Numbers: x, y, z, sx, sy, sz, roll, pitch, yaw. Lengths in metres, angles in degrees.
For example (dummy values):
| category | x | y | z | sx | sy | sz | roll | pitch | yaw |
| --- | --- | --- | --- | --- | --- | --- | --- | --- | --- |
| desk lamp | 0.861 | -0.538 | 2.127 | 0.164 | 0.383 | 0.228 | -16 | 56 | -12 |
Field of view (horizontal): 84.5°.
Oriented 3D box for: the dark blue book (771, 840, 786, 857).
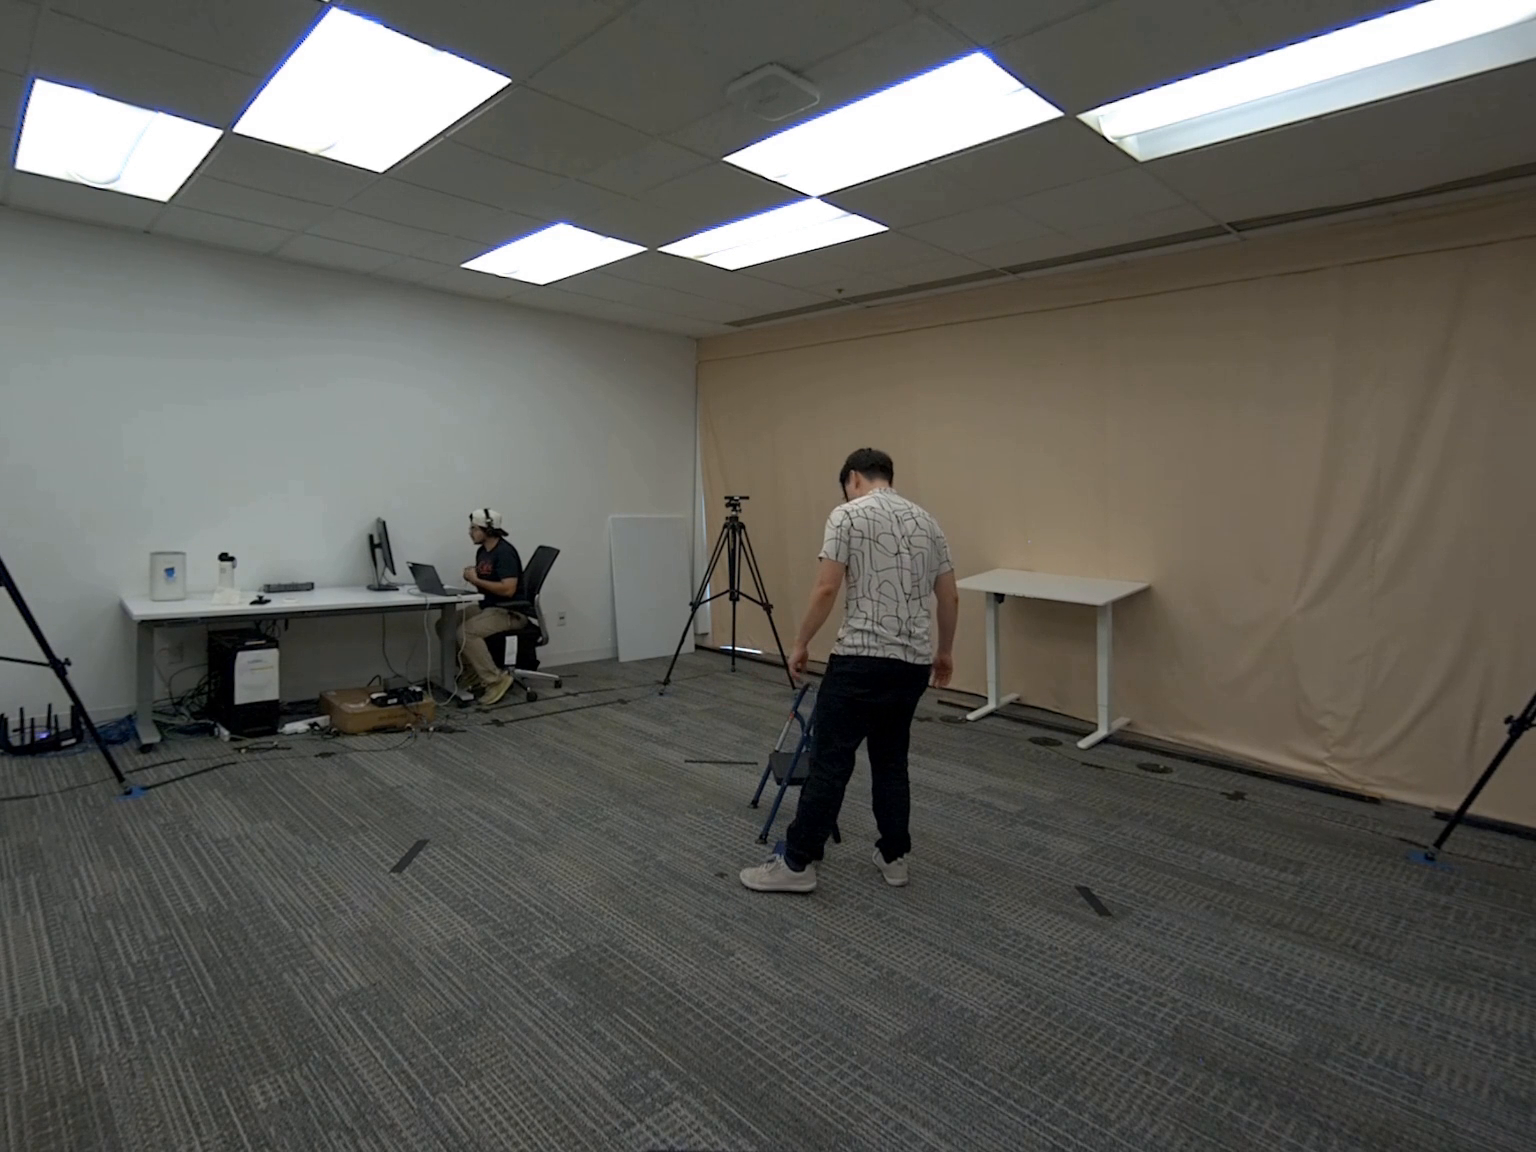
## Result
| category | x | y | z | sx | sy | sz | roll | pitch | yaw |
| --- | --- | --- | --- | --- | --- | --- | --- | --- | --- |
| dark blue book | 0.083 | 1.090 | 3.188 | 0.165 | 0.045 | 0.243 | 3 | 5 | 14 |
